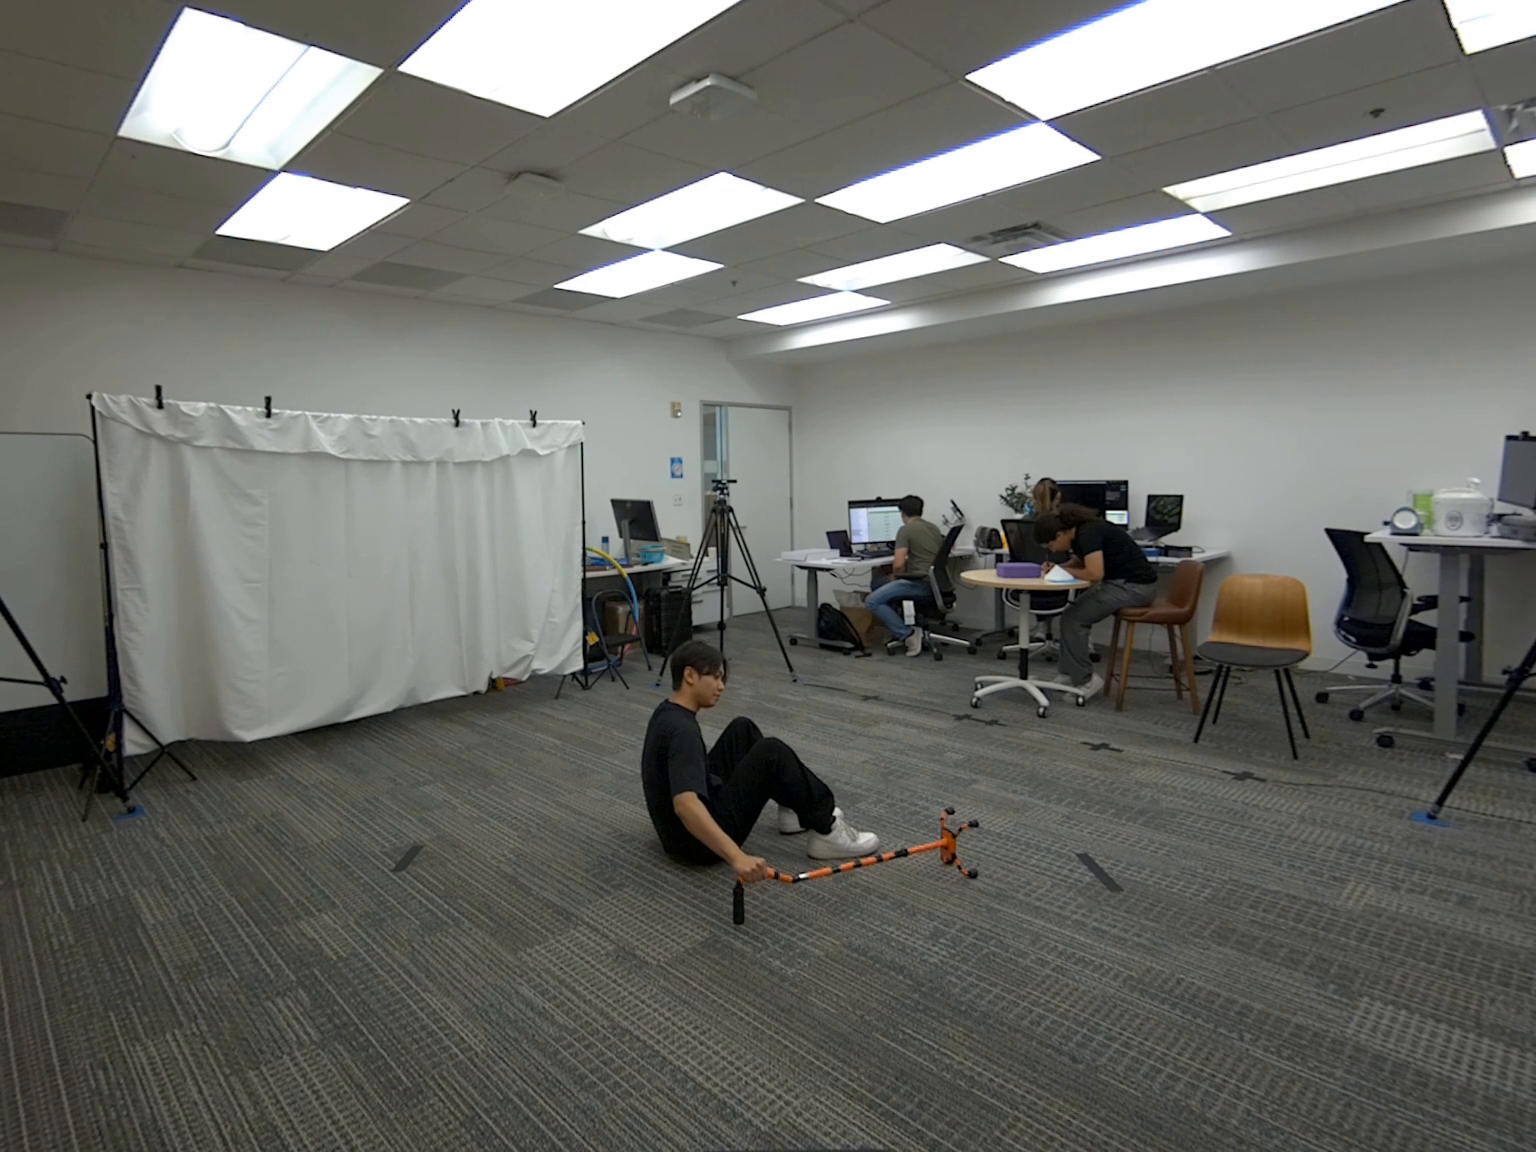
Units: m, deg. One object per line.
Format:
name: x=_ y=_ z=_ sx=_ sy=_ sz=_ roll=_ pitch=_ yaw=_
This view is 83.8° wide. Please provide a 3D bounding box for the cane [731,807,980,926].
cane: x=0.299 y=0.949 z=2.825 sx=0.888 sy=0.205 sz=0.156 roll=-3 pitch=7 yaw=-26
